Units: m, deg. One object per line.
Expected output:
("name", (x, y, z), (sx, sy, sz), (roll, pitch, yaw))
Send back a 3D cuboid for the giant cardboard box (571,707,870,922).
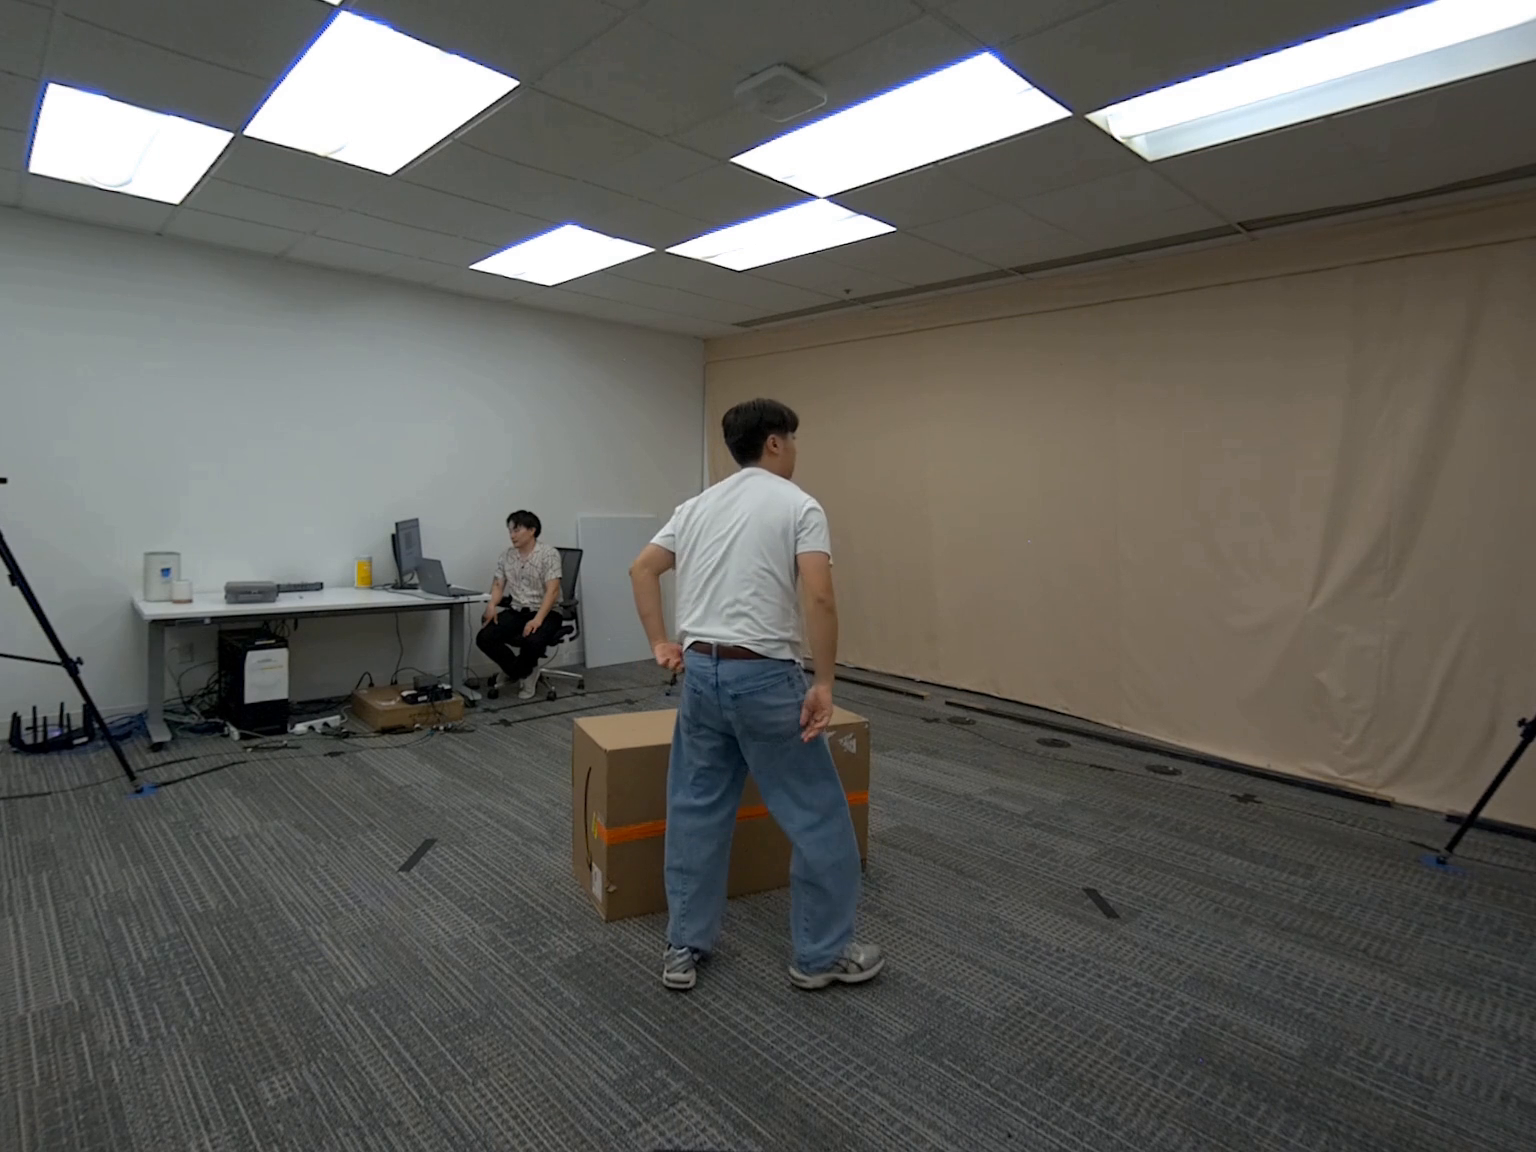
("giant cardboard box", (-0.173, 0.817, 3.124), (1.007, 0.576, 0.435), (-1, 4, -26))
